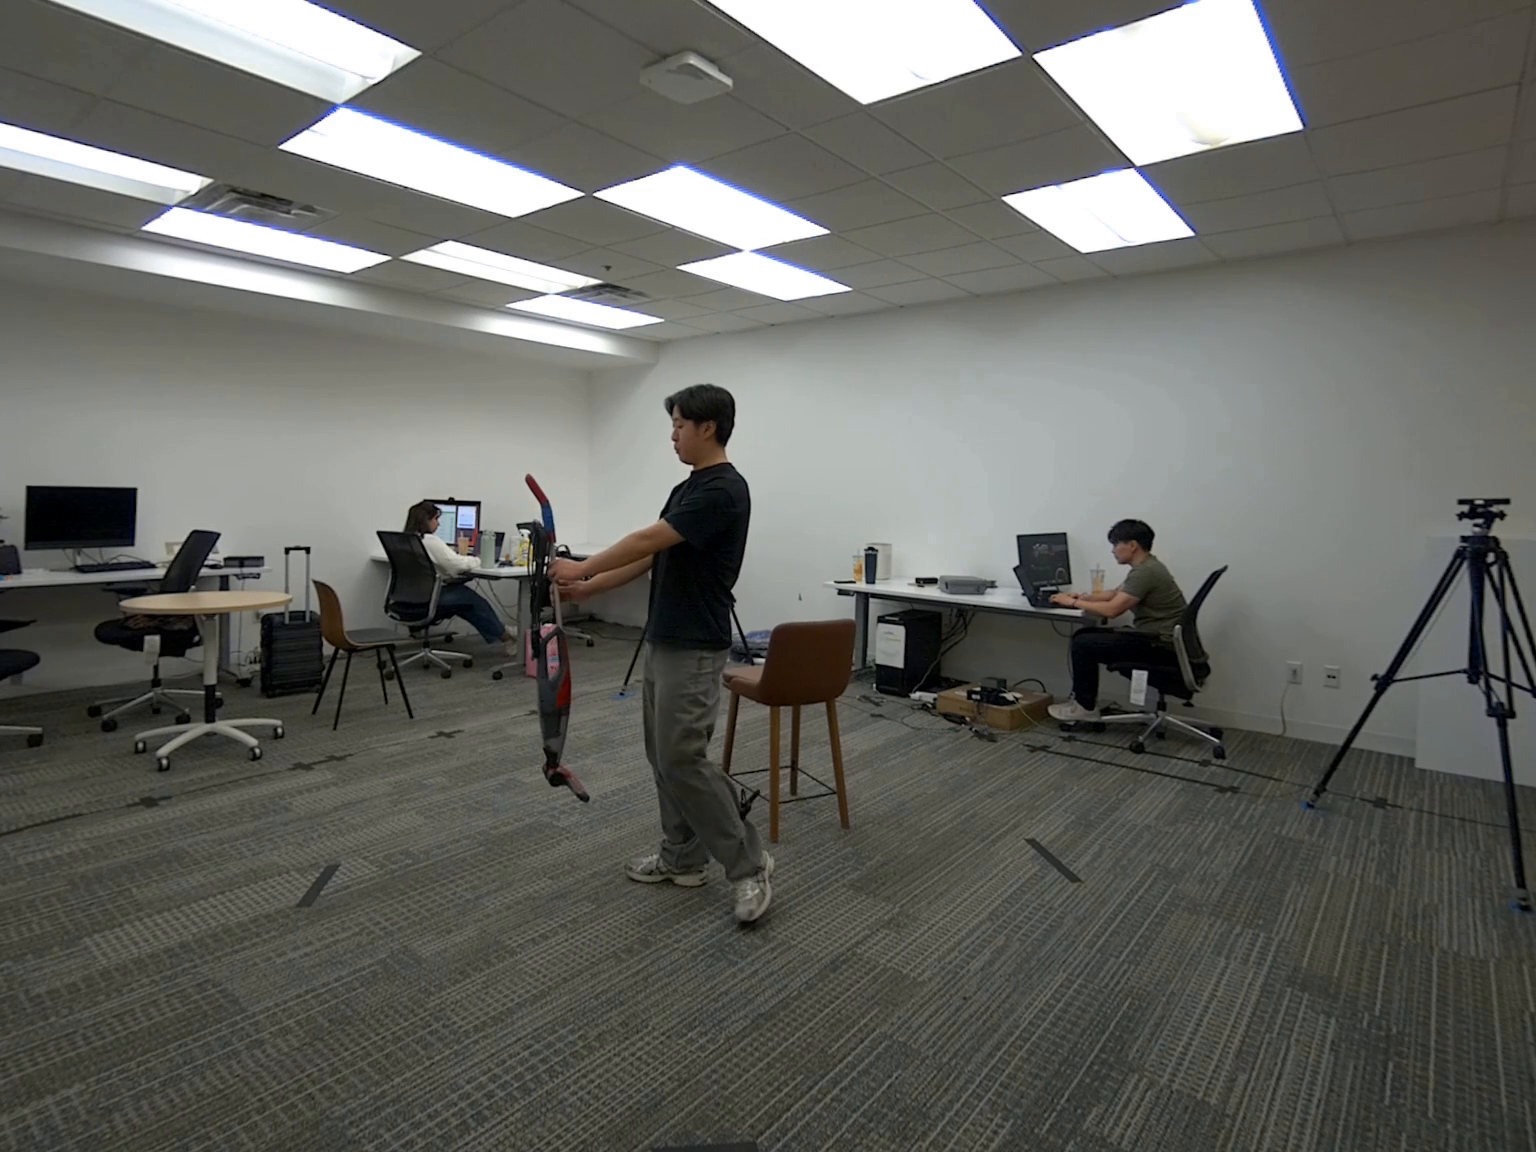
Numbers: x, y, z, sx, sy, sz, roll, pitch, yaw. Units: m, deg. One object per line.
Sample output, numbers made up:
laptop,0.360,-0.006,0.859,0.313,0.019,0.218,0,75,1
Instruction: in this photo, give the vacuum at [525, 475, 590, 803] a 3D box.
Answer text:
vacuum,-0.763,0.189,2.871,0.141,1.042,0.259,-9,7,-23
